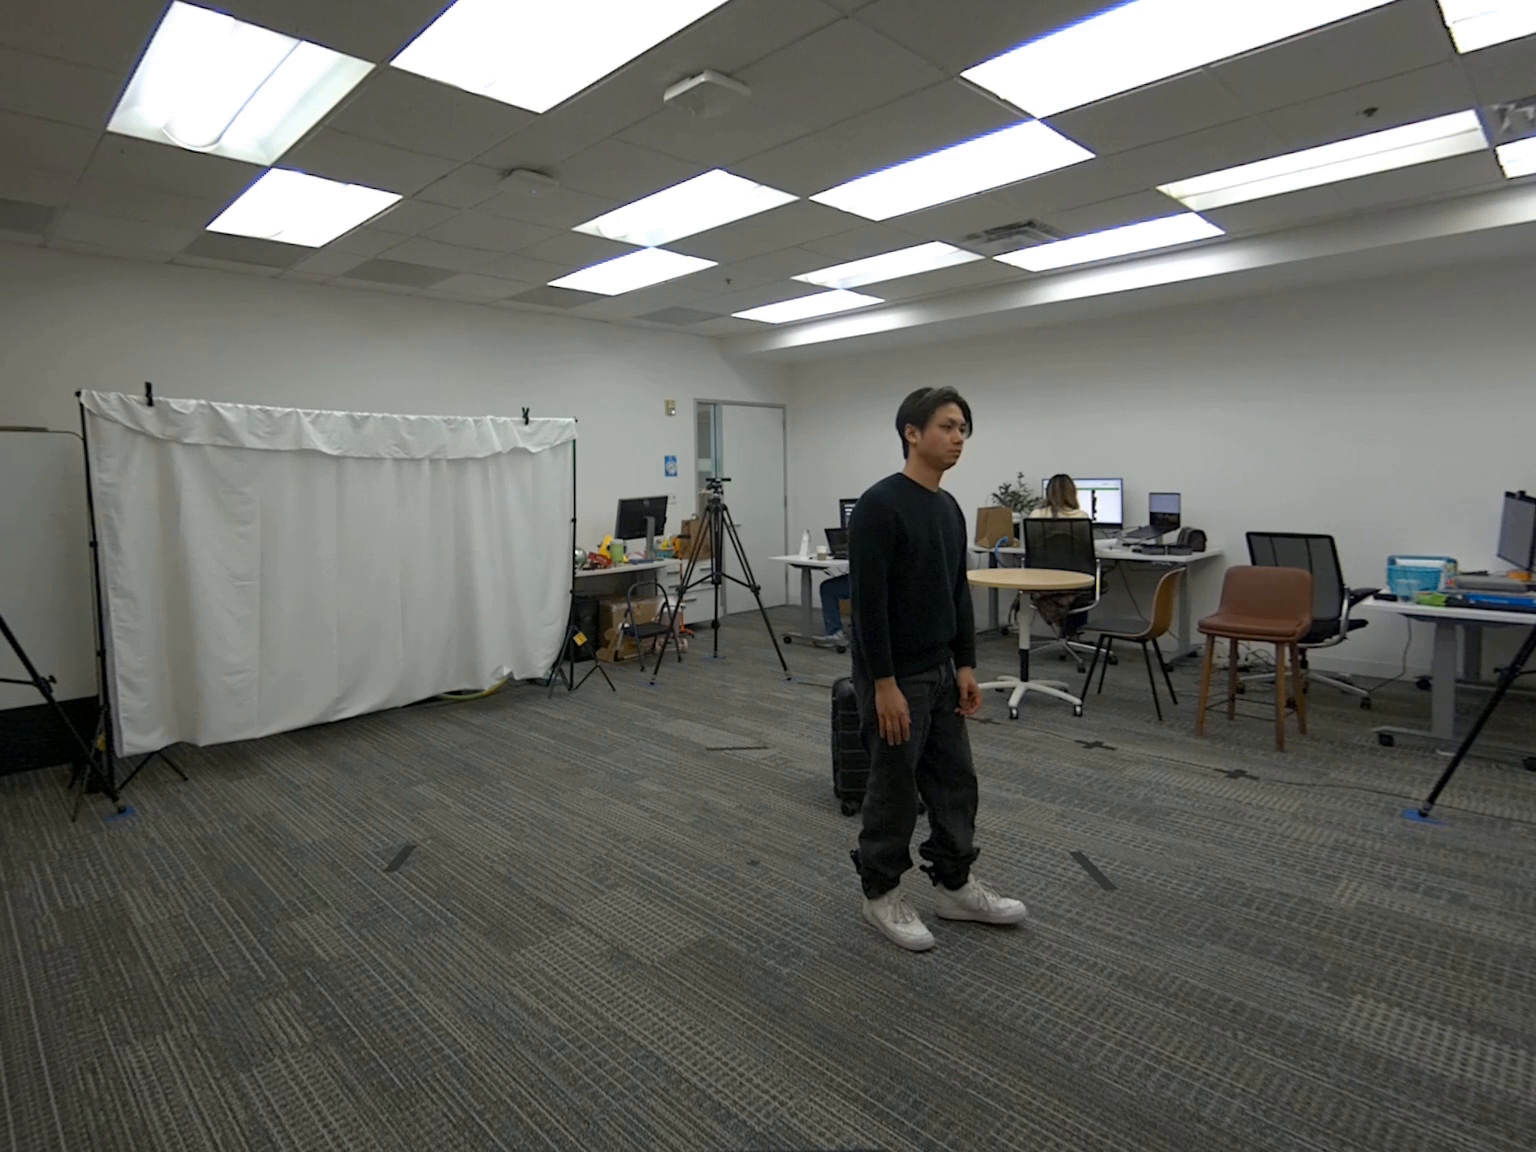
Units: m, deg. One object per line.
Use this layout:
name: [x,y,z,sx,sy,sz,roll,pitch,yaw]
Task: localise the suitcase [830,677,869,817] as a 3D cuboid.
suitcase: [0.460,0.699,3.633,0.376,0.548,0.249,-1,2,1]
